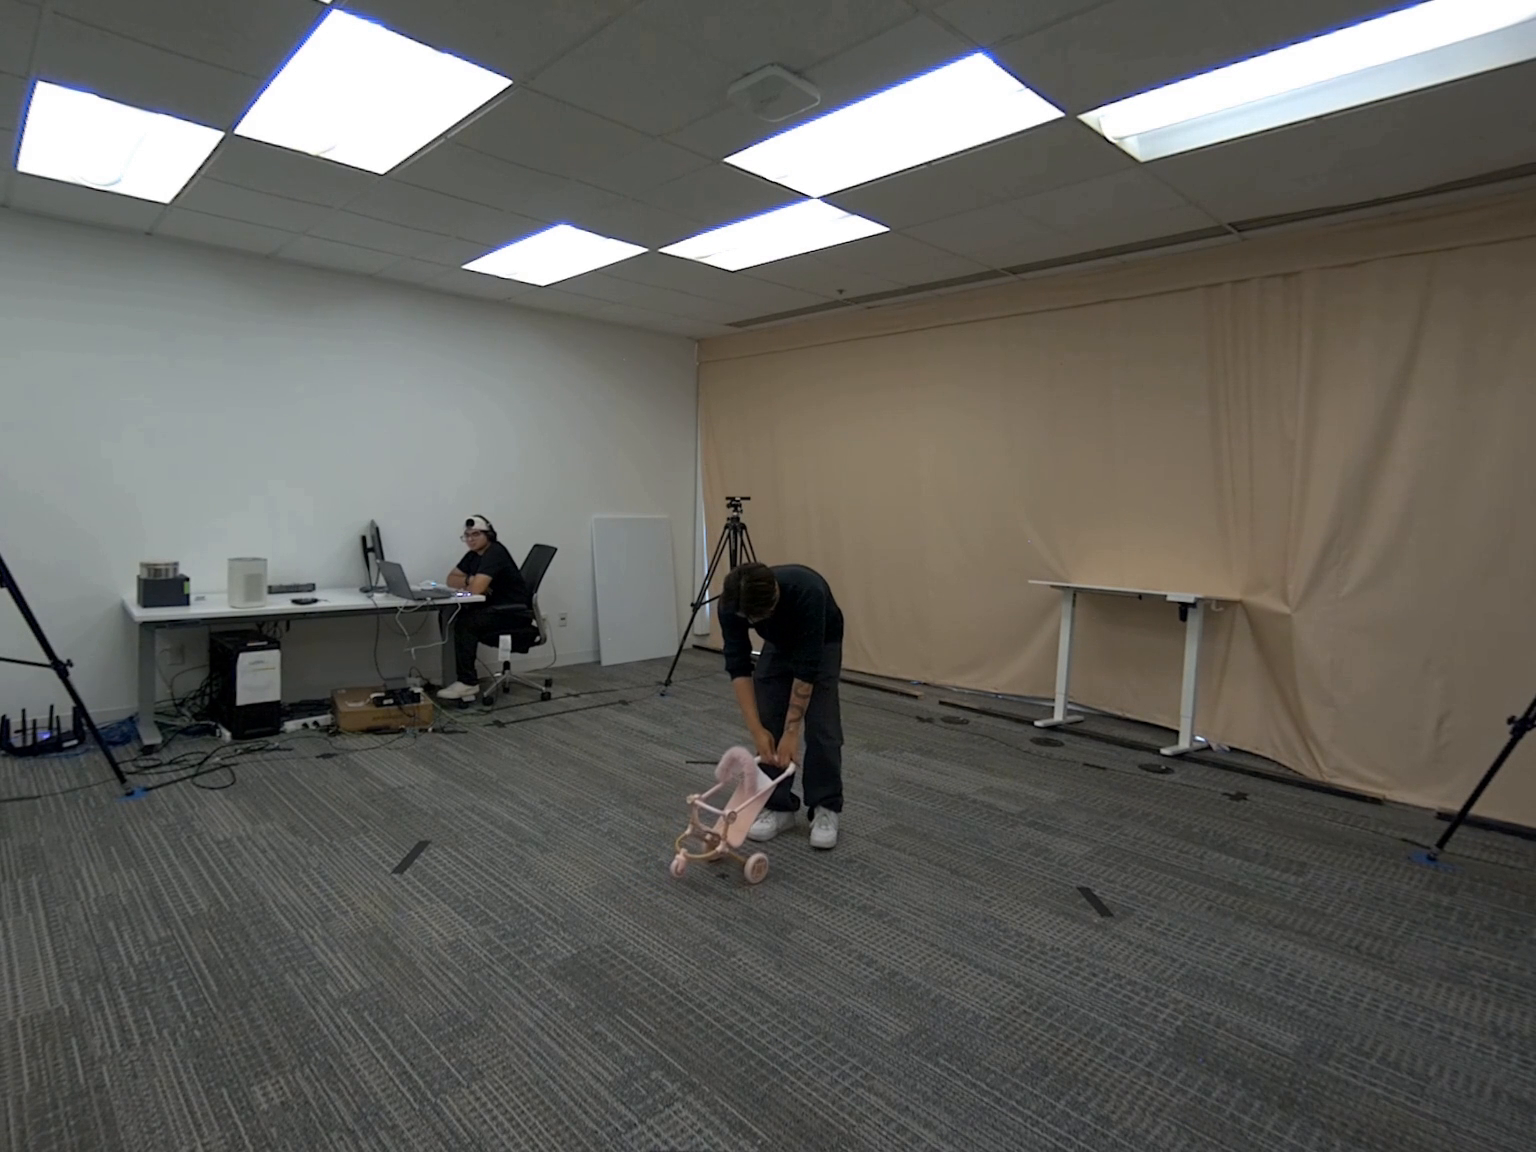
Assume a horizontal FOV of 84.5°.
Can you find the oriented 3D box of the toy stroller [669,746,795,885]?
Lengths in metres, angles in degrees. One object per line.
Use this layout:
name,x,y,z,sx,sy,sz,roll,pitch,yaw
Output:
toy stroller,-0.155,0.875,3.115,0.332,0.537,0.288,31,-16,-33
